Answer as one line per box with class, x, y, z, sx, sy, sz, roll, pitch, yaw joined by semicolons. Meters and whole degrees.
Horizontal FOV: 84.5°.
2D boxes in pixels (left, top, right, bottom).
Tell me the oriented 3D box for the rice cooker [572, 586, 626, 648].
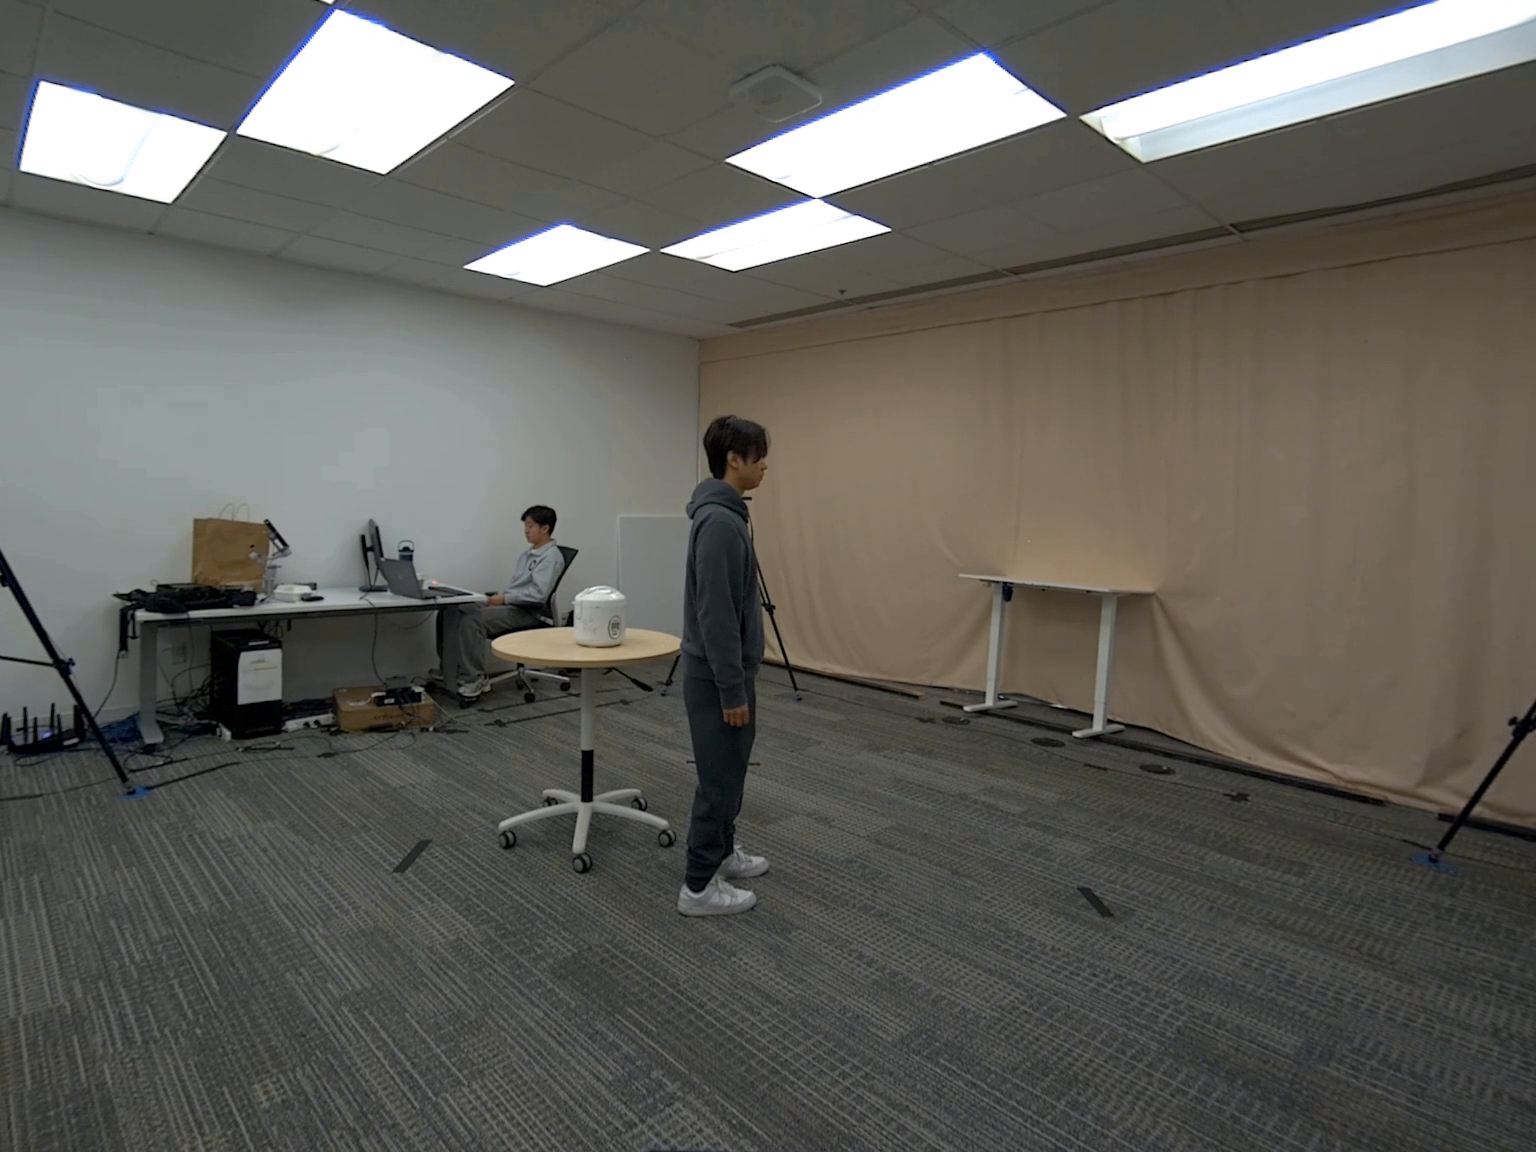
rice cooker;-0.670;0.156;3.369;0.215;0.232;0.223;-2;5;-44
